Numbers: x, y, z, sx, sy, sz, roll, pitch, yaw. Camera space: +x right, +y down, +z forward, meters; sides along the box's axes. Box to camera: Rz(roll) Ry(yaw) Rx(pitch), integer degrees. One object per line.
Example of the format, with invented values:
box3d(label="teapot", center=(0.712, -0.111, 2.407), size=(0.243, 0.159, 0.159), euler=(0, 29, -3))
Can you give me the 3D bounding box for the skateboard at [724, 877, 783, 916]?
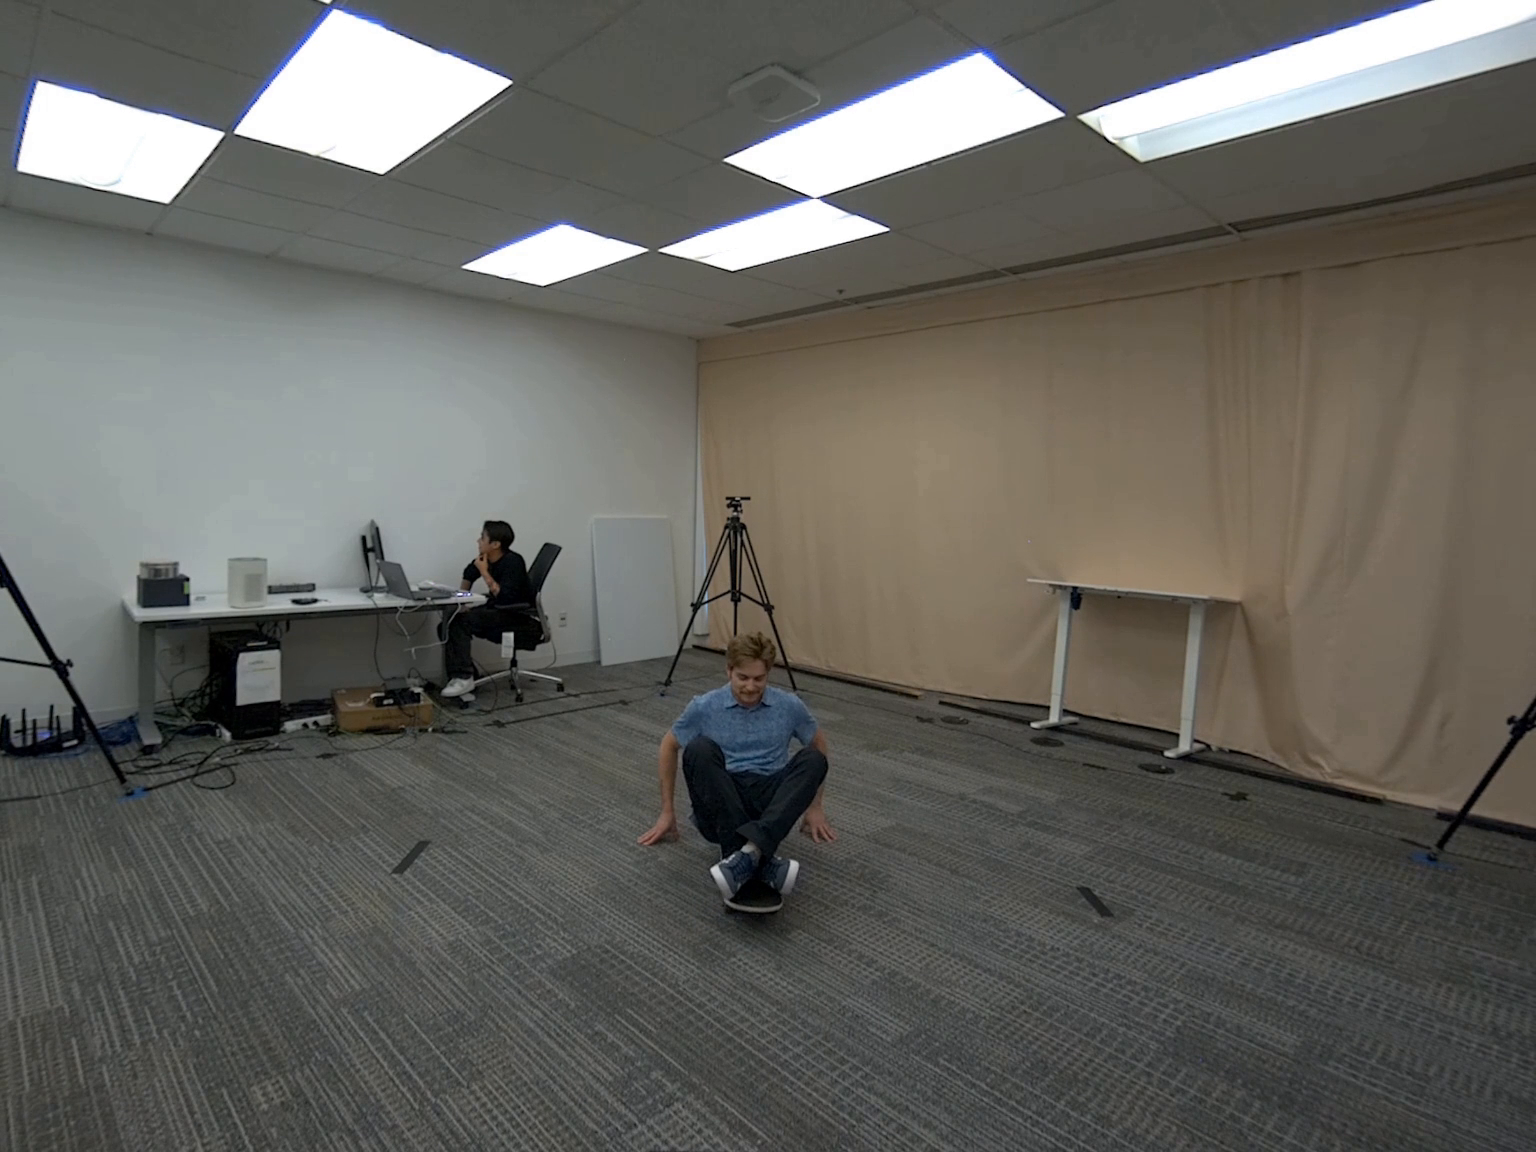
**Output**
box3d(label="skateboard", center=(-0.067, 1.068, 3.021), size=(0.193, 0.110, 0.788), euler=(3, 4, -2))
